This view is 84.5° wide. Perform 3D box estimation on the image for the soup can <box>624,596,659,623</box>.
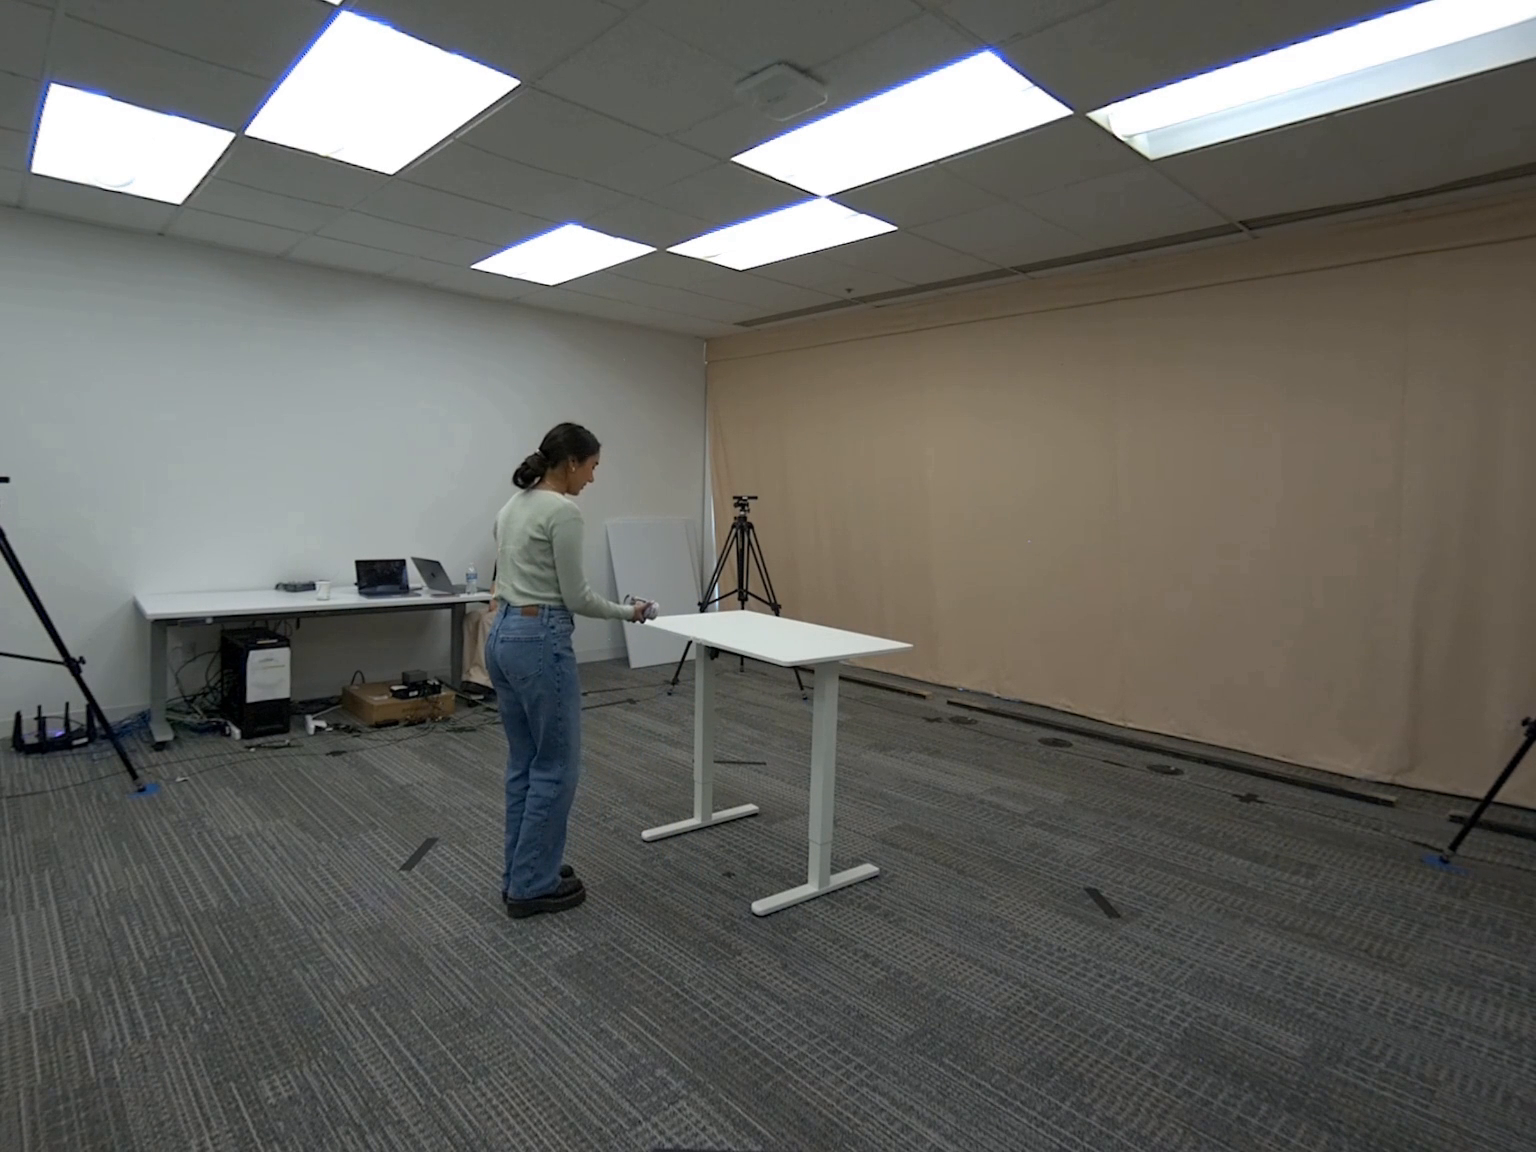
[{"bbox_3d":[-0.472,0.117,3.022,0.119,0.067,0.068,20,-1,-17],"label":"soup can"}]
